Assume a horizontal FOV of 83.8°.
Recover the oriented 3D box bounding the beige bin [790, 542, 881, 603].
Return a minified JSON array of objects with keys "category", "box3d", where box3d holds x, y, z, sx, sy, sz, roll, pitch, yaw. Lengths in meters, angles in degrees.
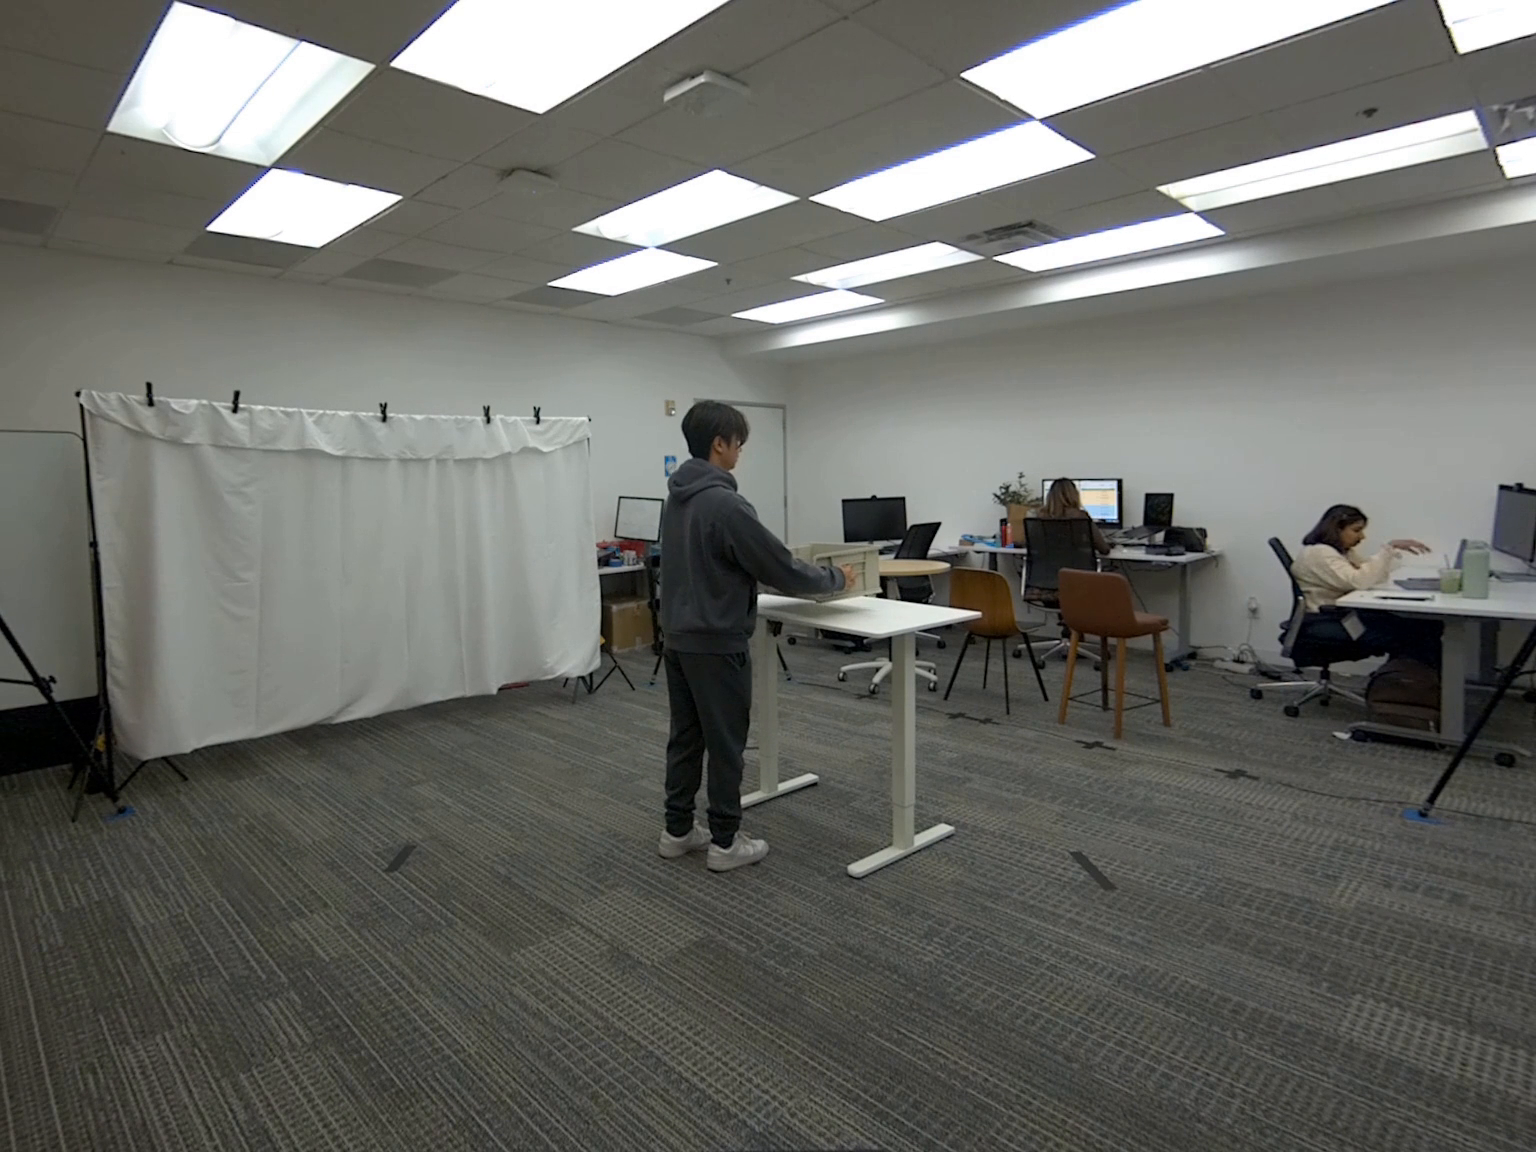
[{"category":"beige bin","box3d":[0.179,-0.014,3.334,0.368,0.188,0.434,-7,7,-35]}]
